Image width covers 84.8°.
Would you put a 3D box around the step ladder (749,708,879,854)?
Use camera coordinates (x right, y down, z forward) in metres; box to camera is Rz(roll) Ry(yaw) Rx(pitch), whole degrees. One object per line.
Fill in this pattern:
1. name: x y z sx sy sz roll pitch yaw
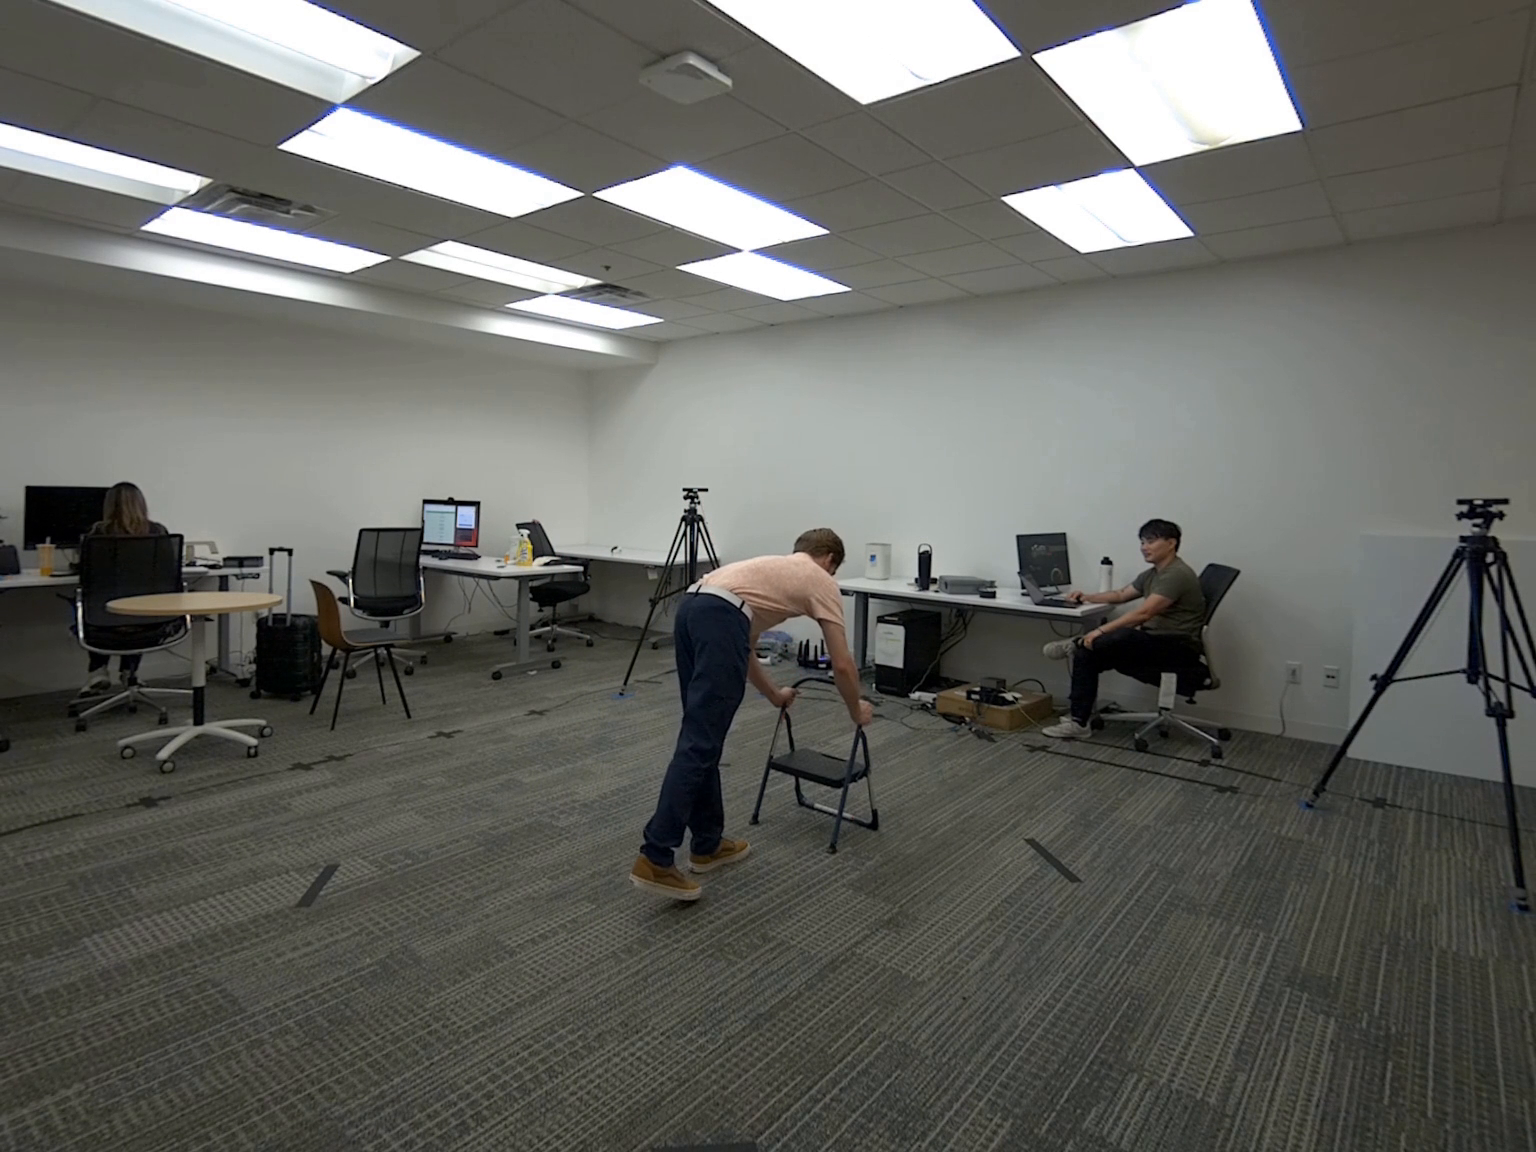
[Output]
1. step ladder: 0.191 0.736 3.521 0.445 0.604 0.339 5 5 40
